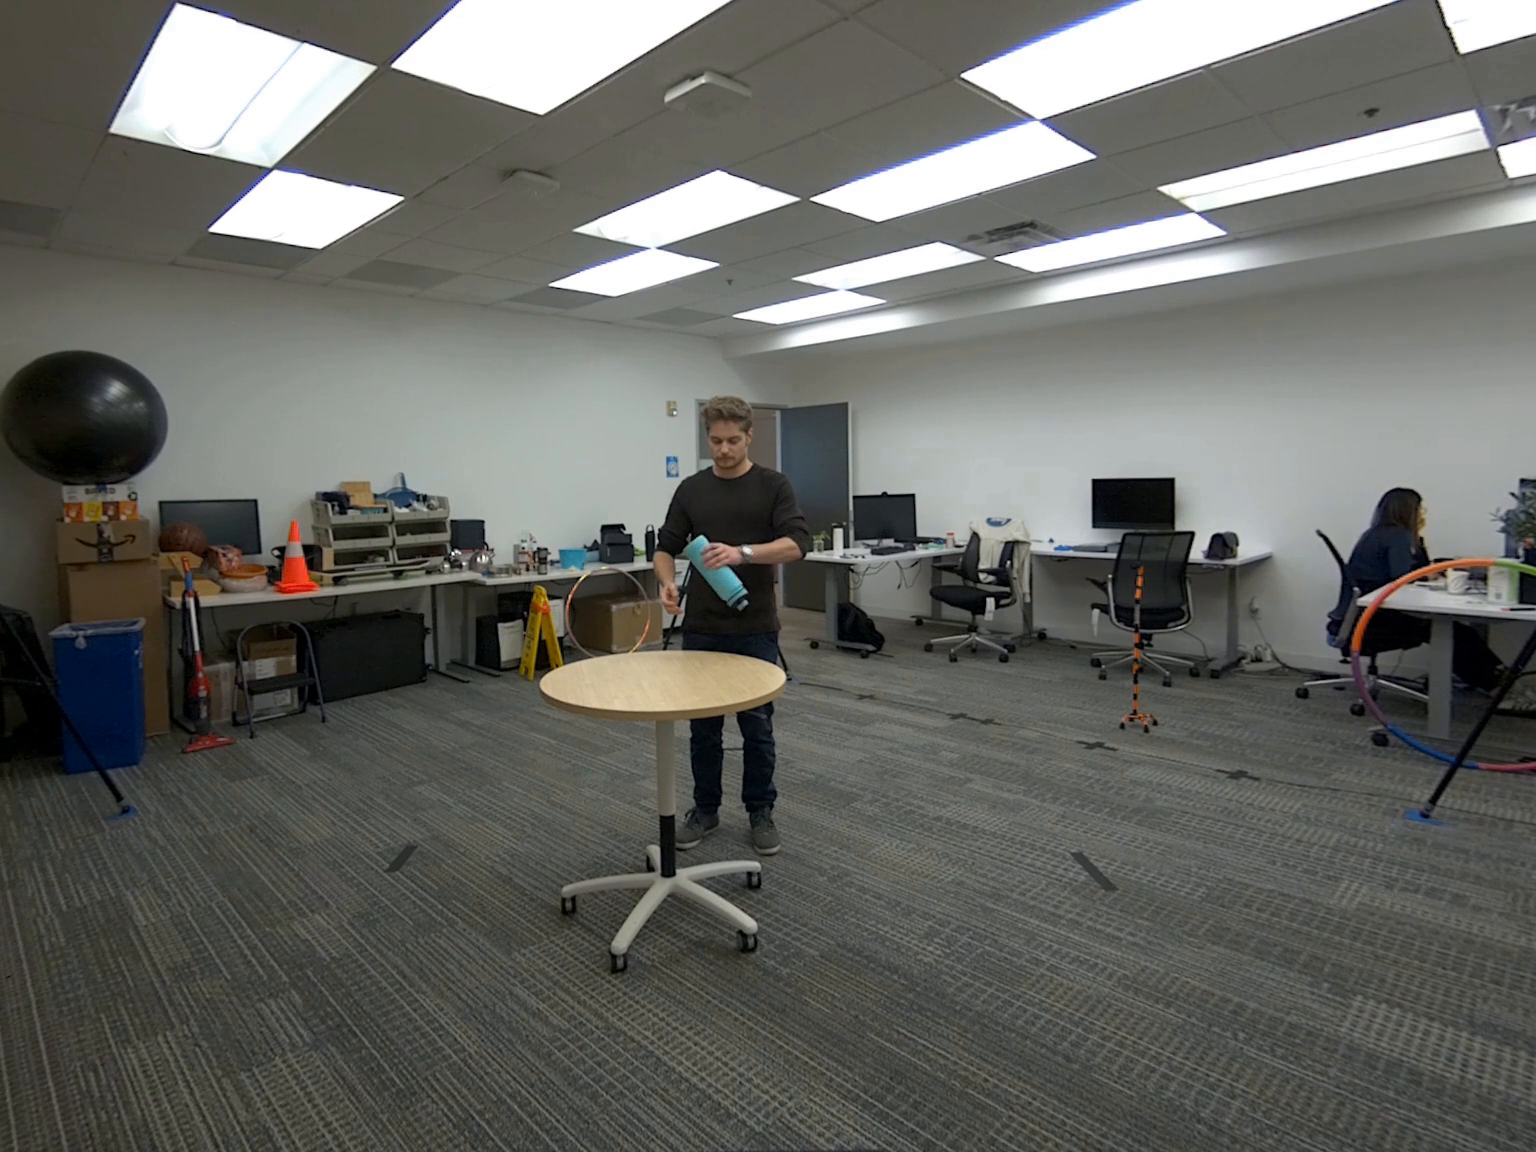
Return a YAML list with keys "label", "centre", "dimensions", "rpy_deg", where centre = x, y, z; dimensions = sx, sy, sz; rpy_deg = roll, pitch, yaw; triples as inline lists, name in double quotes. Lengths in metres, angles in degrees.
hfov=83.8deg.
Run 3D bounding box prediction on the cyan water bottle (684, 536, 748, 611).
- label: "cyan water bottle"
  centre: [-0.174, -0.004, 2.932]
  dimensions: [0.092, 0.286, 0.092]
  rpy_deg: [-38, -6, -5]
